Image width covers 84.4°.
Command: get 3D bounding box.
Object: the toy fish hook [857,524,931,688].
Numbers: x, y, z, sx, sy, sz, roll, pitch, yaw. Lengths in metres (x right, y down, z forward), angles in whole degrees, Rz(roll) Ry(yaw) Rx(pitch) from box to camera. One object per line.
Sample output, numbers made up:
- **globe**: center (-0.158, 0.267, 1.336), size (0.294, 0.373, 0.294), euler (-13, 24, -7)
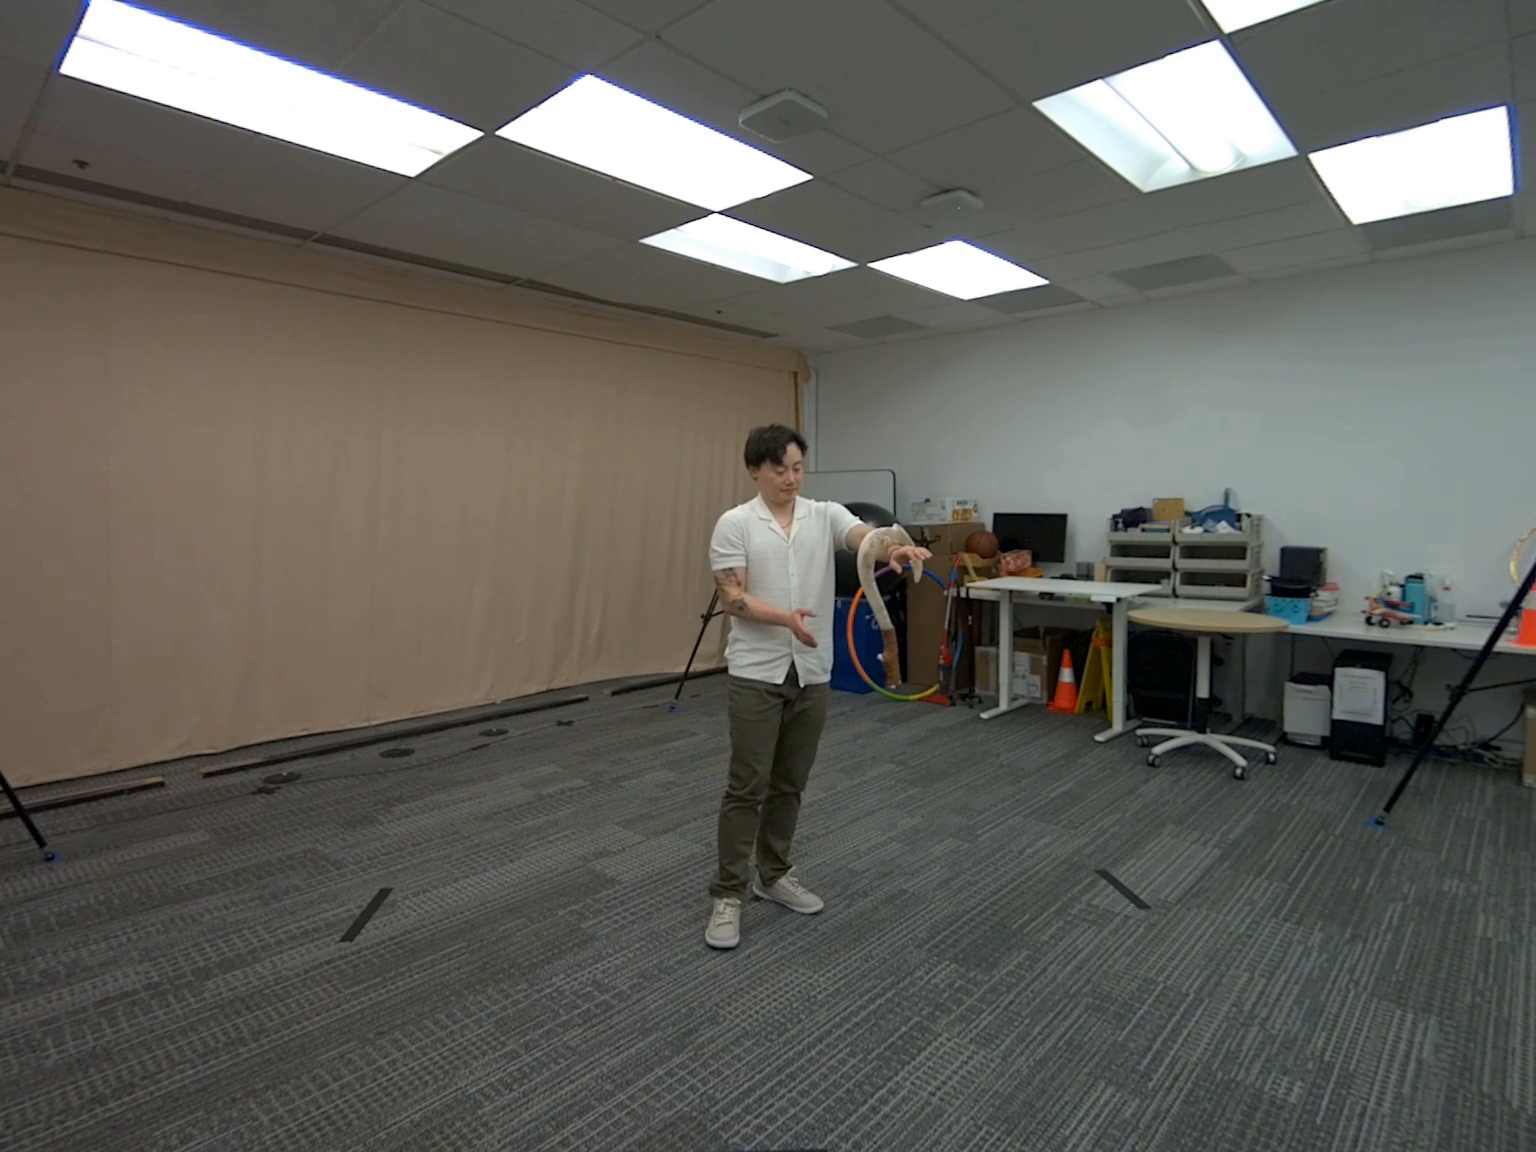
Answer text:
- **toy fish hook**: center (0.401, 0.095, 2.607), size (0.221, 0.502, 0.049), euler (-15, 9, -16)
